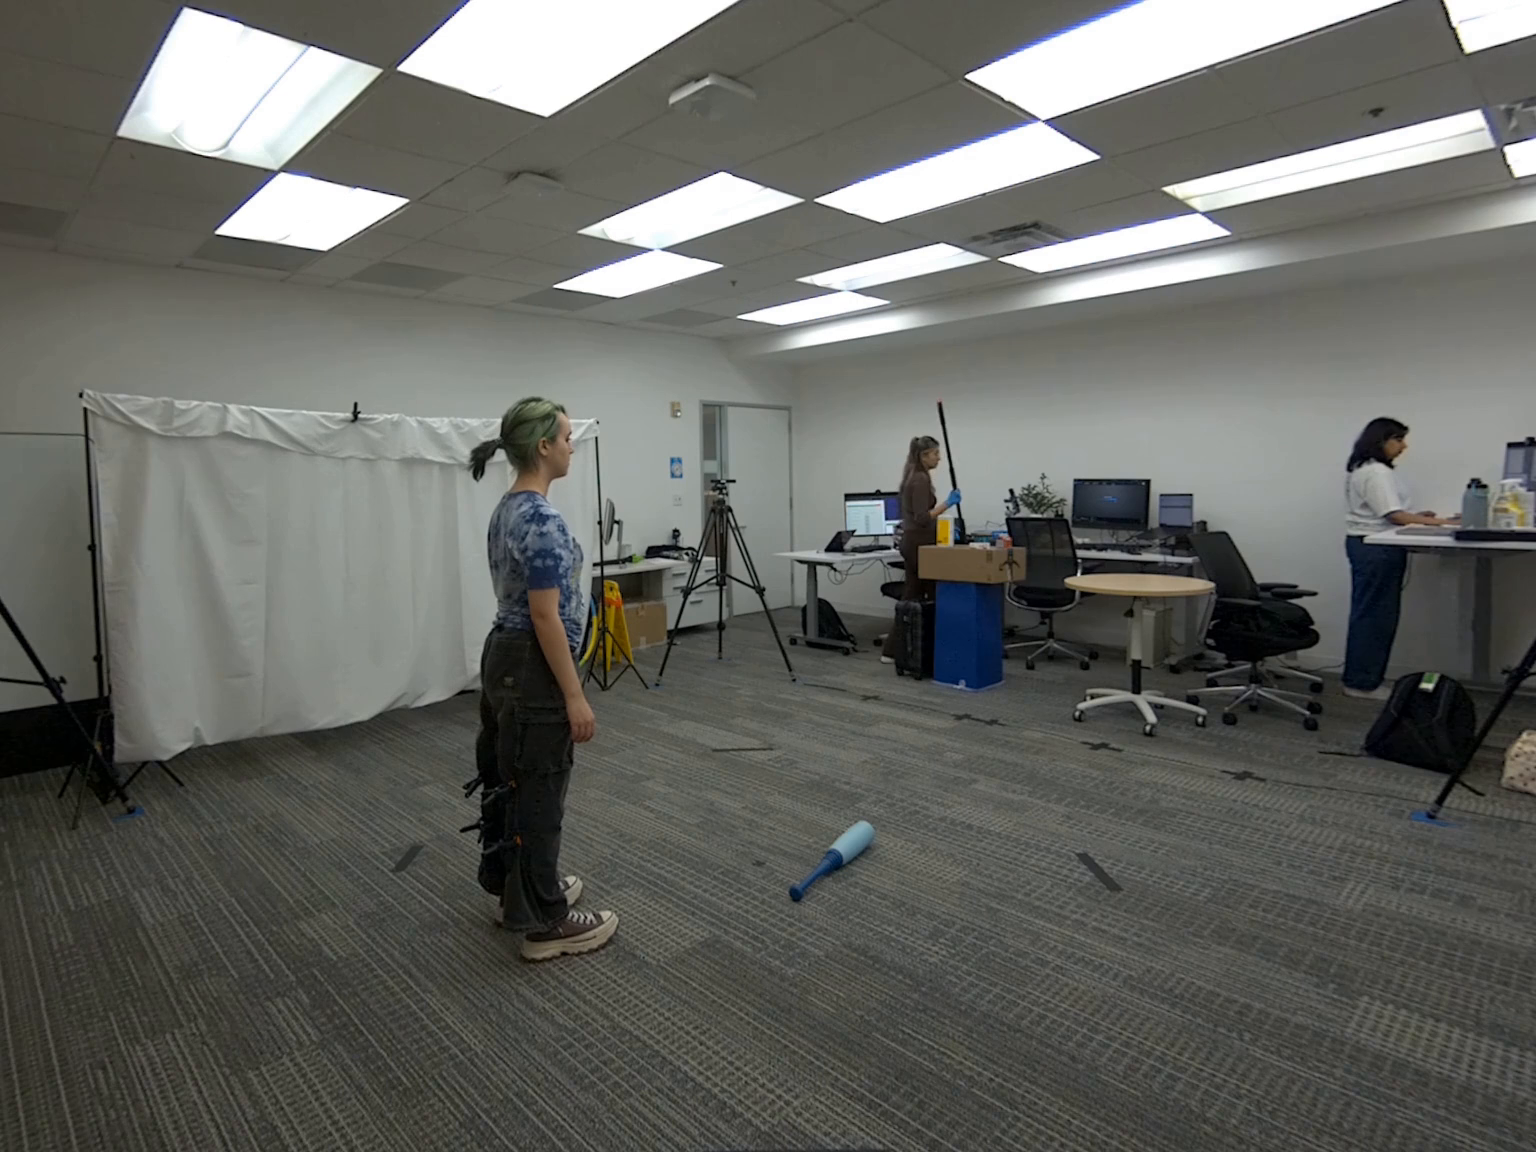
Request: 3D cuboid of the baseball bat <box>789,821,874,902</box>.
[{"bbox_3d":[0.233,1.015,3.037,0.091,0.088,0.532,2,10,32],"label":"baseball bat"}]
